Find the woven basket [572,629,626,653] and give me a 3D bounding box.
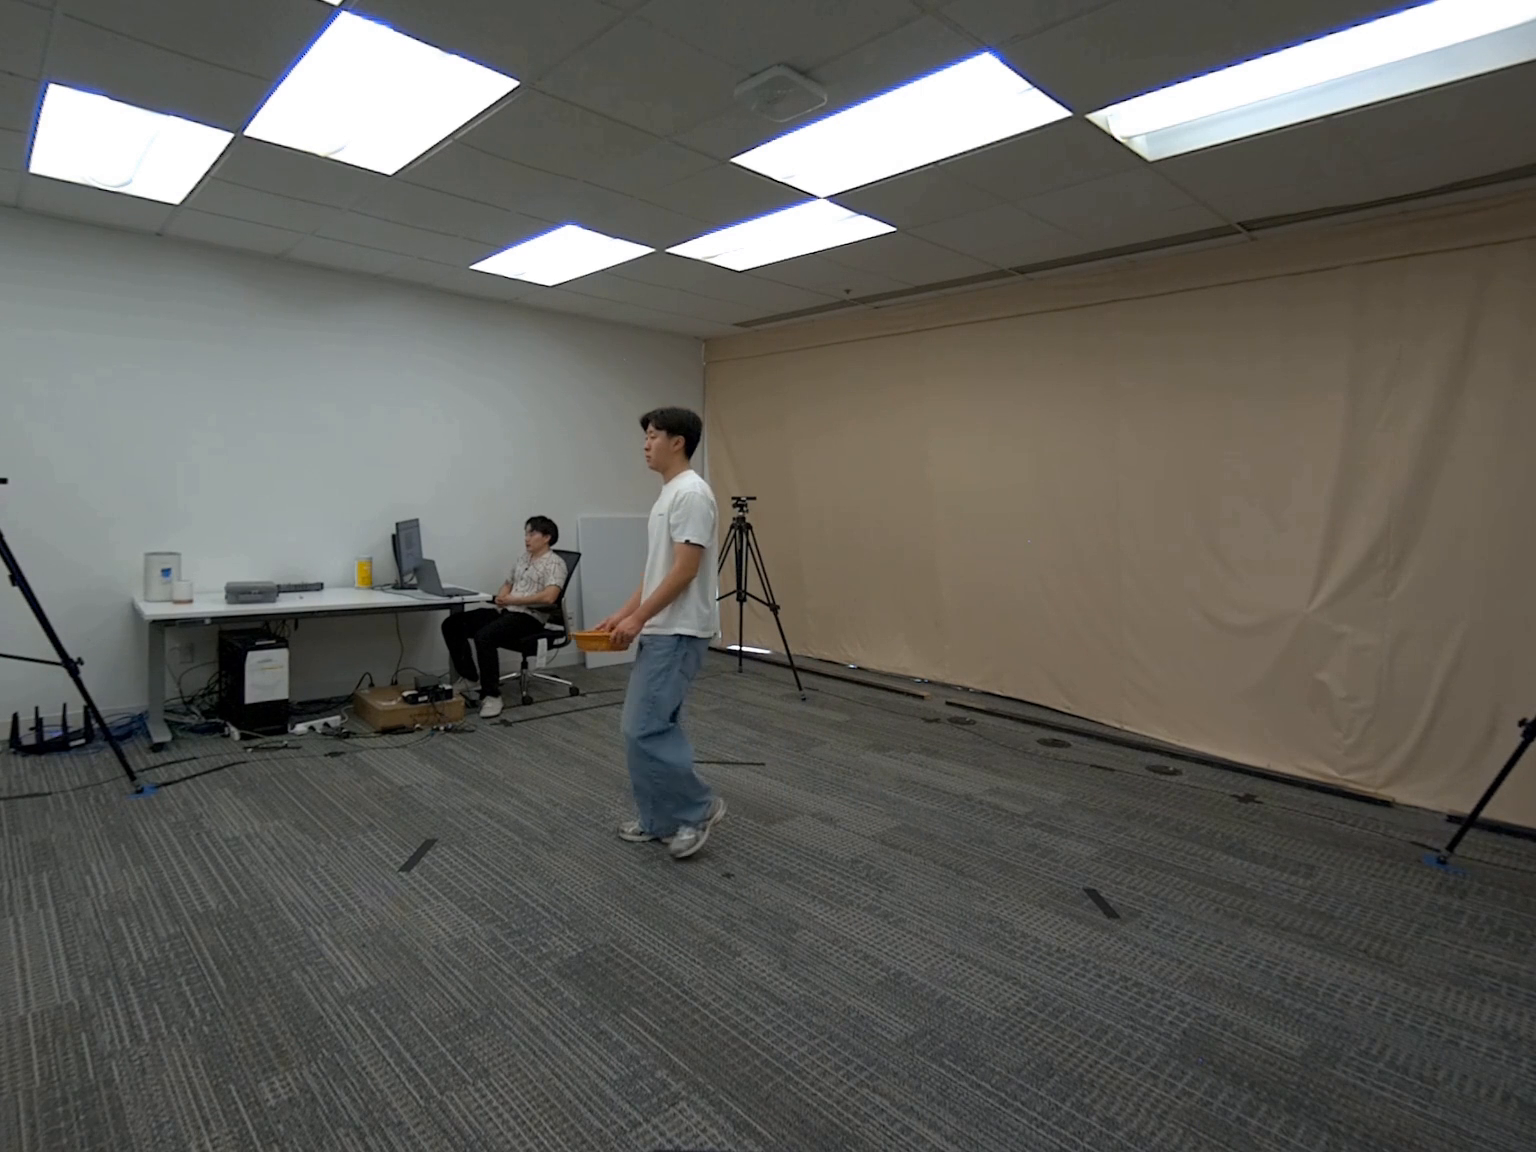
[{"bbox_3d":[-0.641,0.253,3.294,0.247,0.073,0.356,0,-2,-28],"label":"woven basket"}]
